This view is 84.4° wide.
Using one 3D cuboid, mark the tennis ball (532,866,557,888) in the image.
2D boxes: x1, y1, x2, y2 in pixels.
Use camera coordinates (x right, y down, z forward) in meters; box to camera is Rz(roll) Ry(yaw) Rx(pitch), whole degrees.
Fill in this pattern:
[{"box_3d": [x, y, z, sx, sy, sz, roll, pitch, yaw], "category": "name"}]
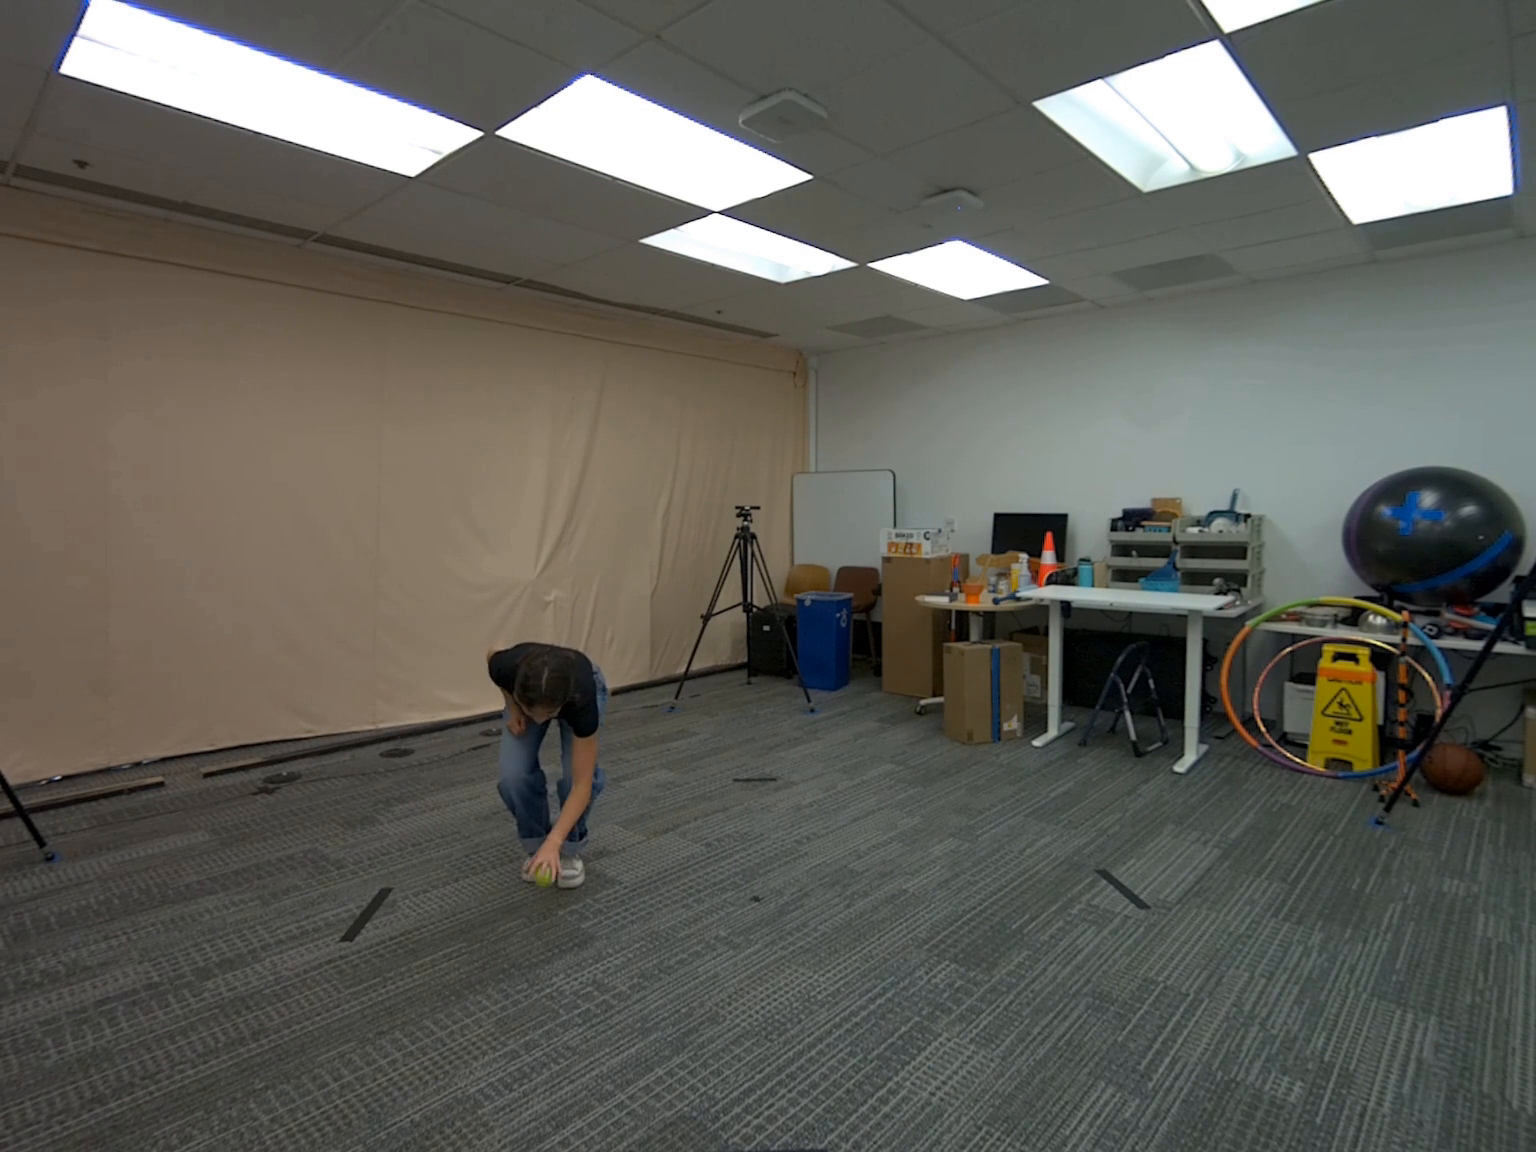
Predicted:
[{"box_3d": [-0.703, 0.983, 2.680, 0.066, 0.066, 0.067, 0, 4, -2], "category": "tennis ball"}]
